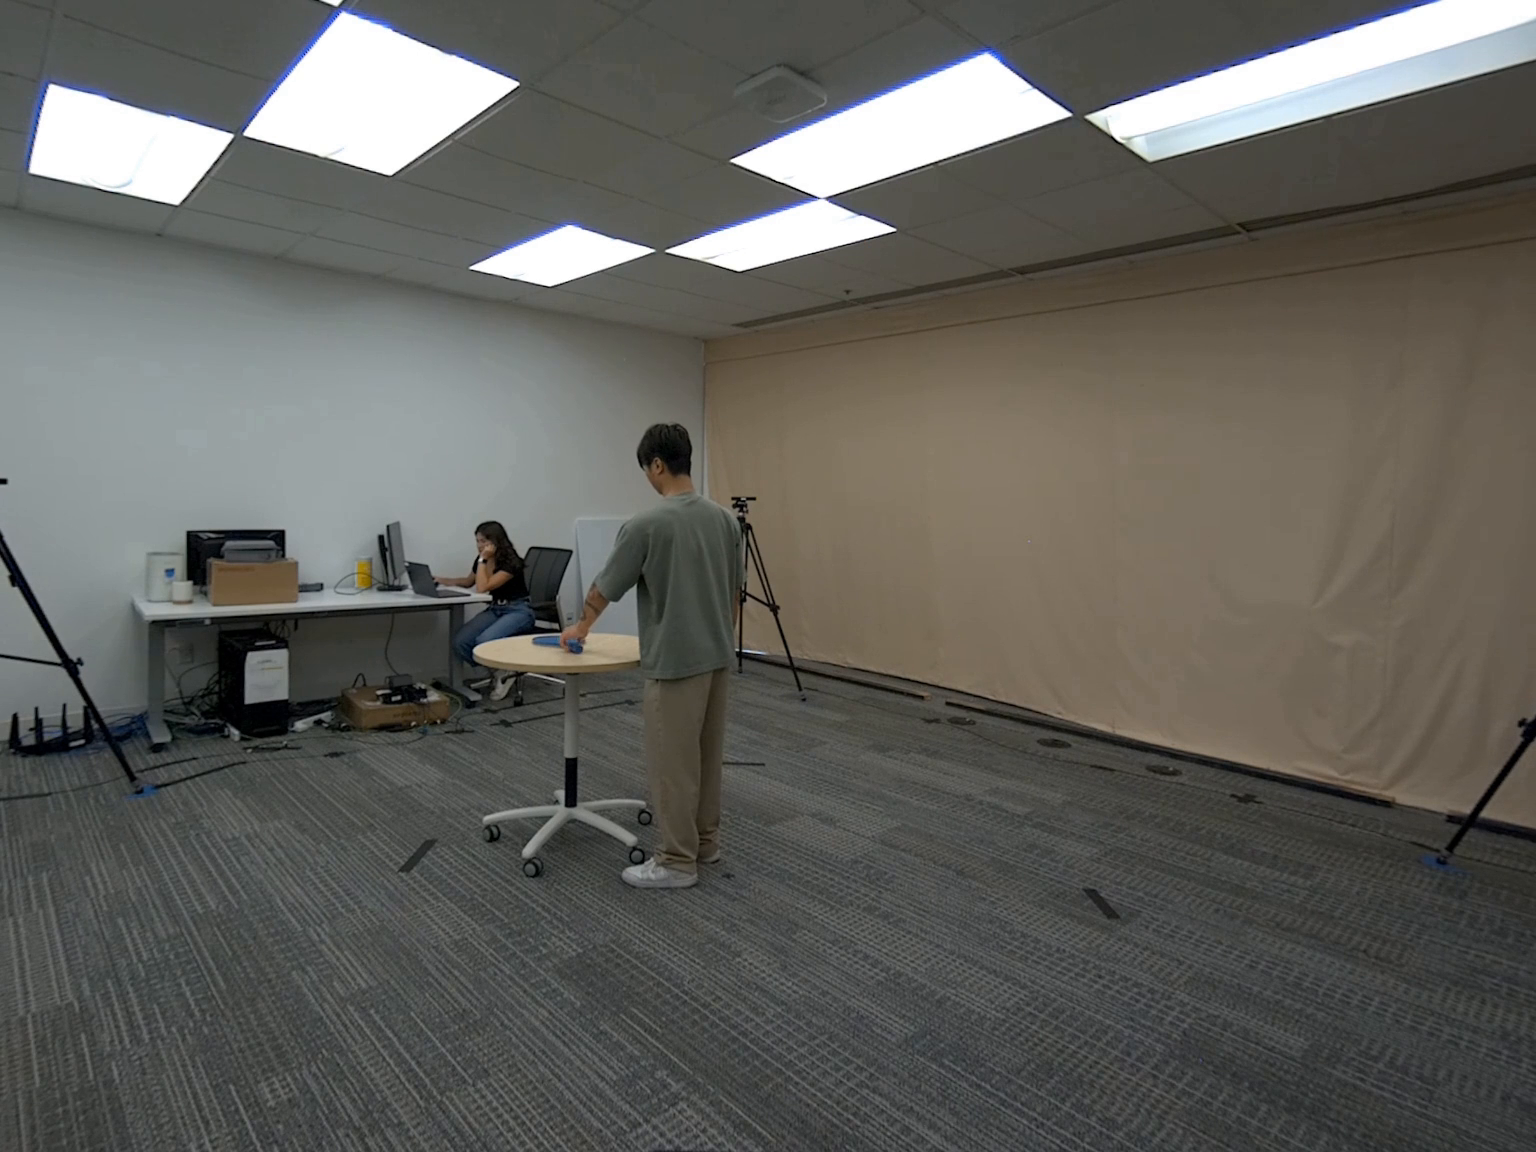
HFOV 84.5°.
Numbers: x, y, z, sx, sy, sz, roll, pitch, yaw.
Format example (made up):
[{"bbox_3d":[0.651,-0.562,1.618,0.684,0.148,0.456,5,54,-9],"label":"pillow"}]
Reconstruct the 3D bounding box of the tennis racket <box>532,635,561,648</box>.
[{"bbox_3d":[-0.830,0.268,3.410,0.210,0.032,0.442,-2,5,-26],"label":"tennis racket"}]
